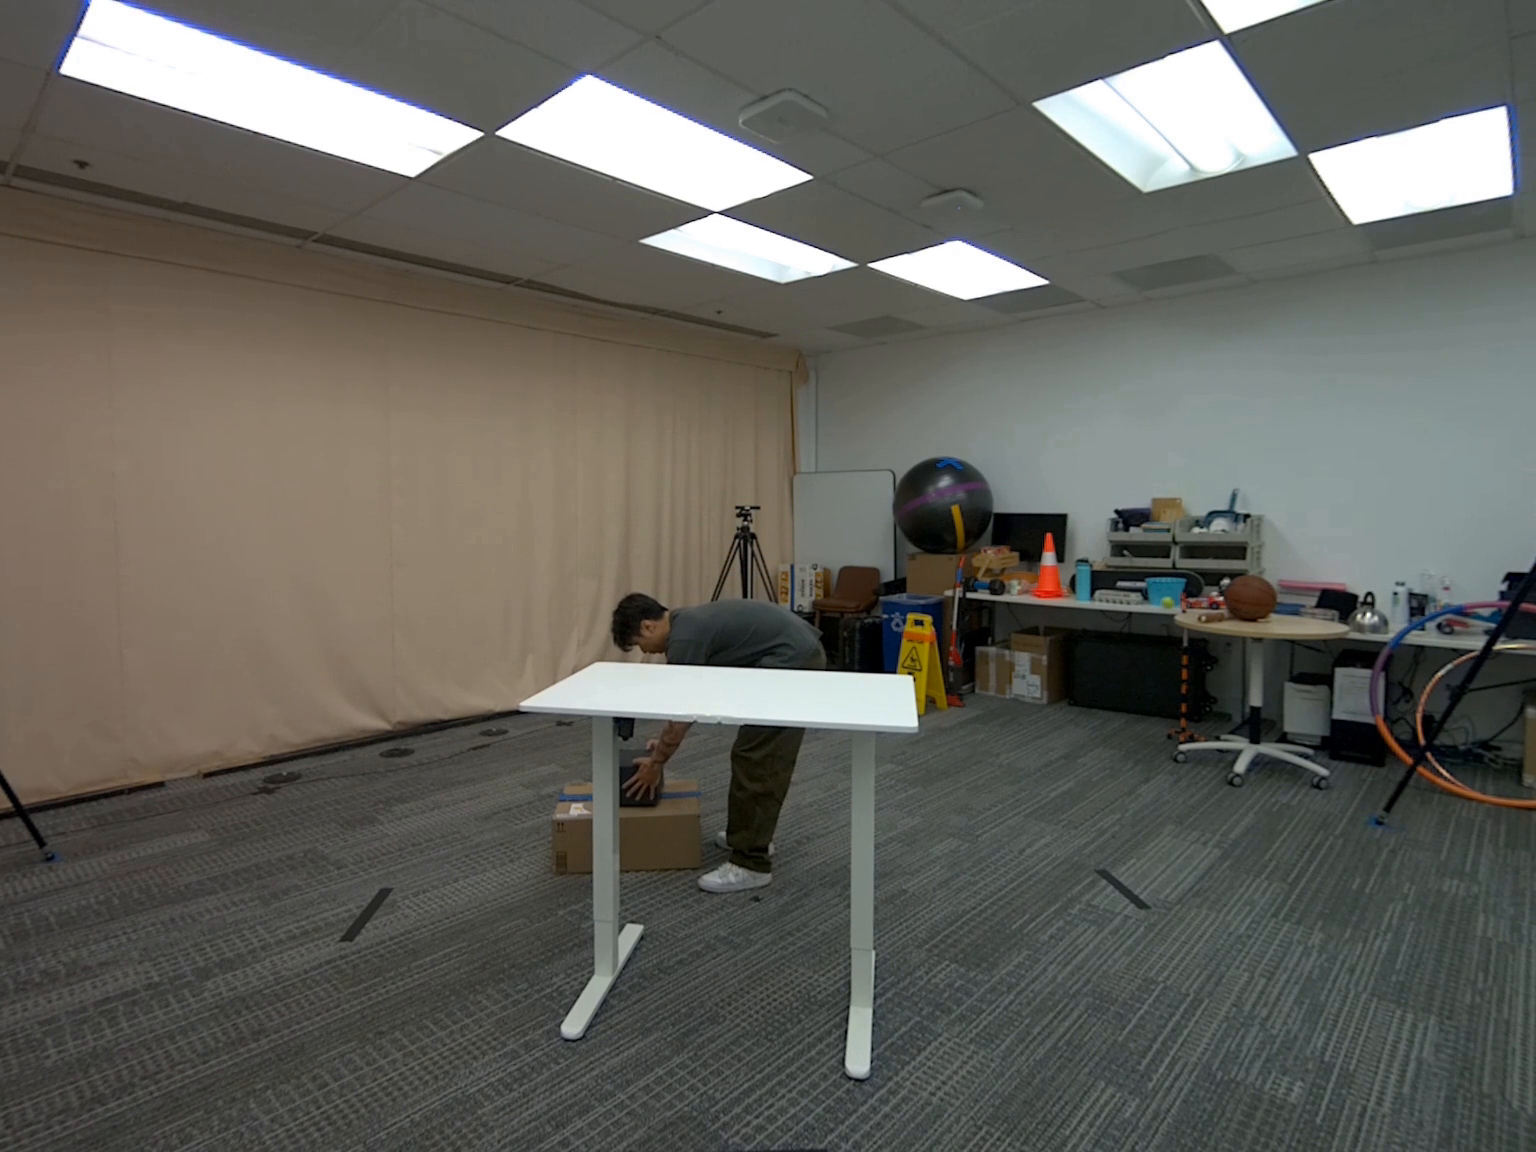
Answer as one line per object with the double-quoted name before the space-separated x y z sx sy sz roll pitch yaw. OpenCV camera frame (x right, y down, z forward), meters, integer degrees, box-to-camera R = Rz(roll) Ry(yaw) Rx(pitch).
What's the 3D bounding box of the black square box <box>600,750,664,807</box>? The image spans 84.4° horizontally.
"black square box" -0.545 0.807 3.399 0.217 0.155 0.228 -2 3 1
